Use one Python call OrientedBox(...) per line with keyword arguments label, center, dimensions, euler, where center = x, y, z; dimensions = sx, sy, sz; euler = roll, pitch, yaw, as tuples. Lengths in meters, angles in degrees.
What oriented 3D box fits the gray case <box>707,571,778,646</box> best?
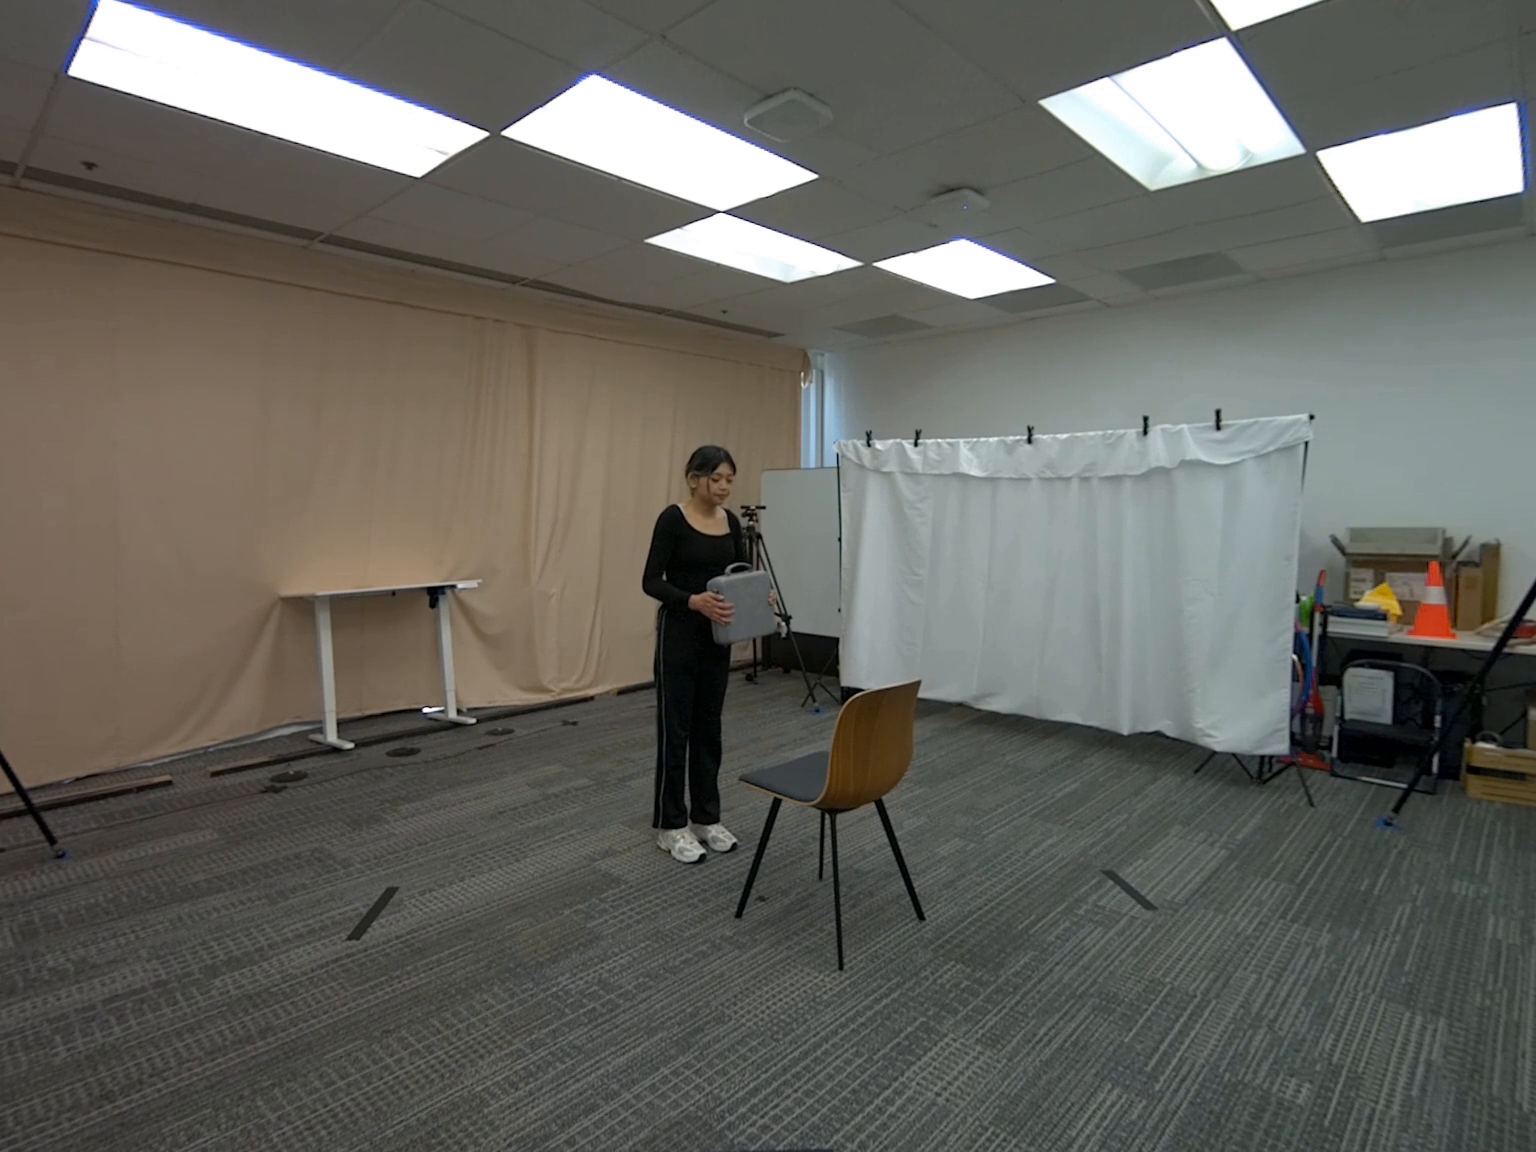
OrientedBox(label="gray case", center=(-0.093, 0.116, 3.202), dimensions=(0.250, 0.260, 0.107), euler=(-11, 7, -41))
